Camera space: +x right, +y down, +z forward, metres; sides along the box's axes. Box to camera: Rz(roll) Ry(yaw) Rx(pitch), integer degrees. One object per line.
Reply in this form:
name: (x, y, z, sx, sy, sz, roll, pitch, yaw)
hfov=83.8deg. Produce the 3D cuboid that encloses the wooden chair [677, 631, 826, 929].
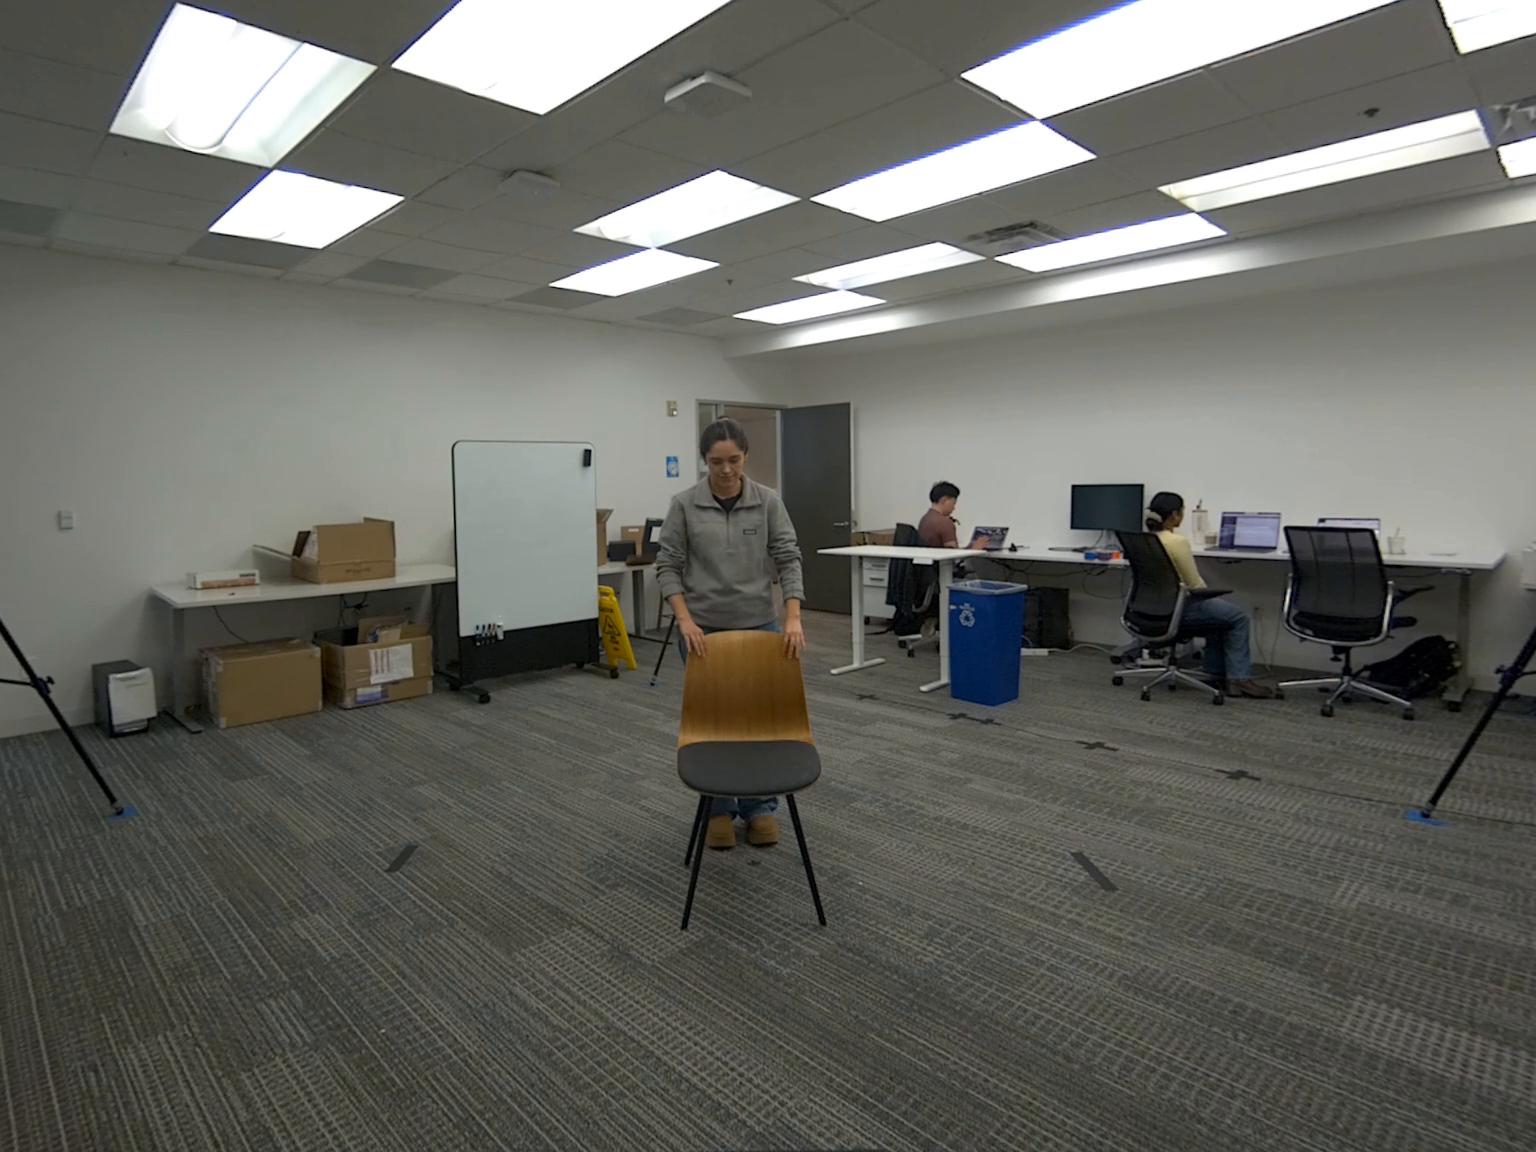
wooden chair: (-0.062, 0.647, 2.839, 0.477, 0.878, 0.524, 0, 0, -3)
